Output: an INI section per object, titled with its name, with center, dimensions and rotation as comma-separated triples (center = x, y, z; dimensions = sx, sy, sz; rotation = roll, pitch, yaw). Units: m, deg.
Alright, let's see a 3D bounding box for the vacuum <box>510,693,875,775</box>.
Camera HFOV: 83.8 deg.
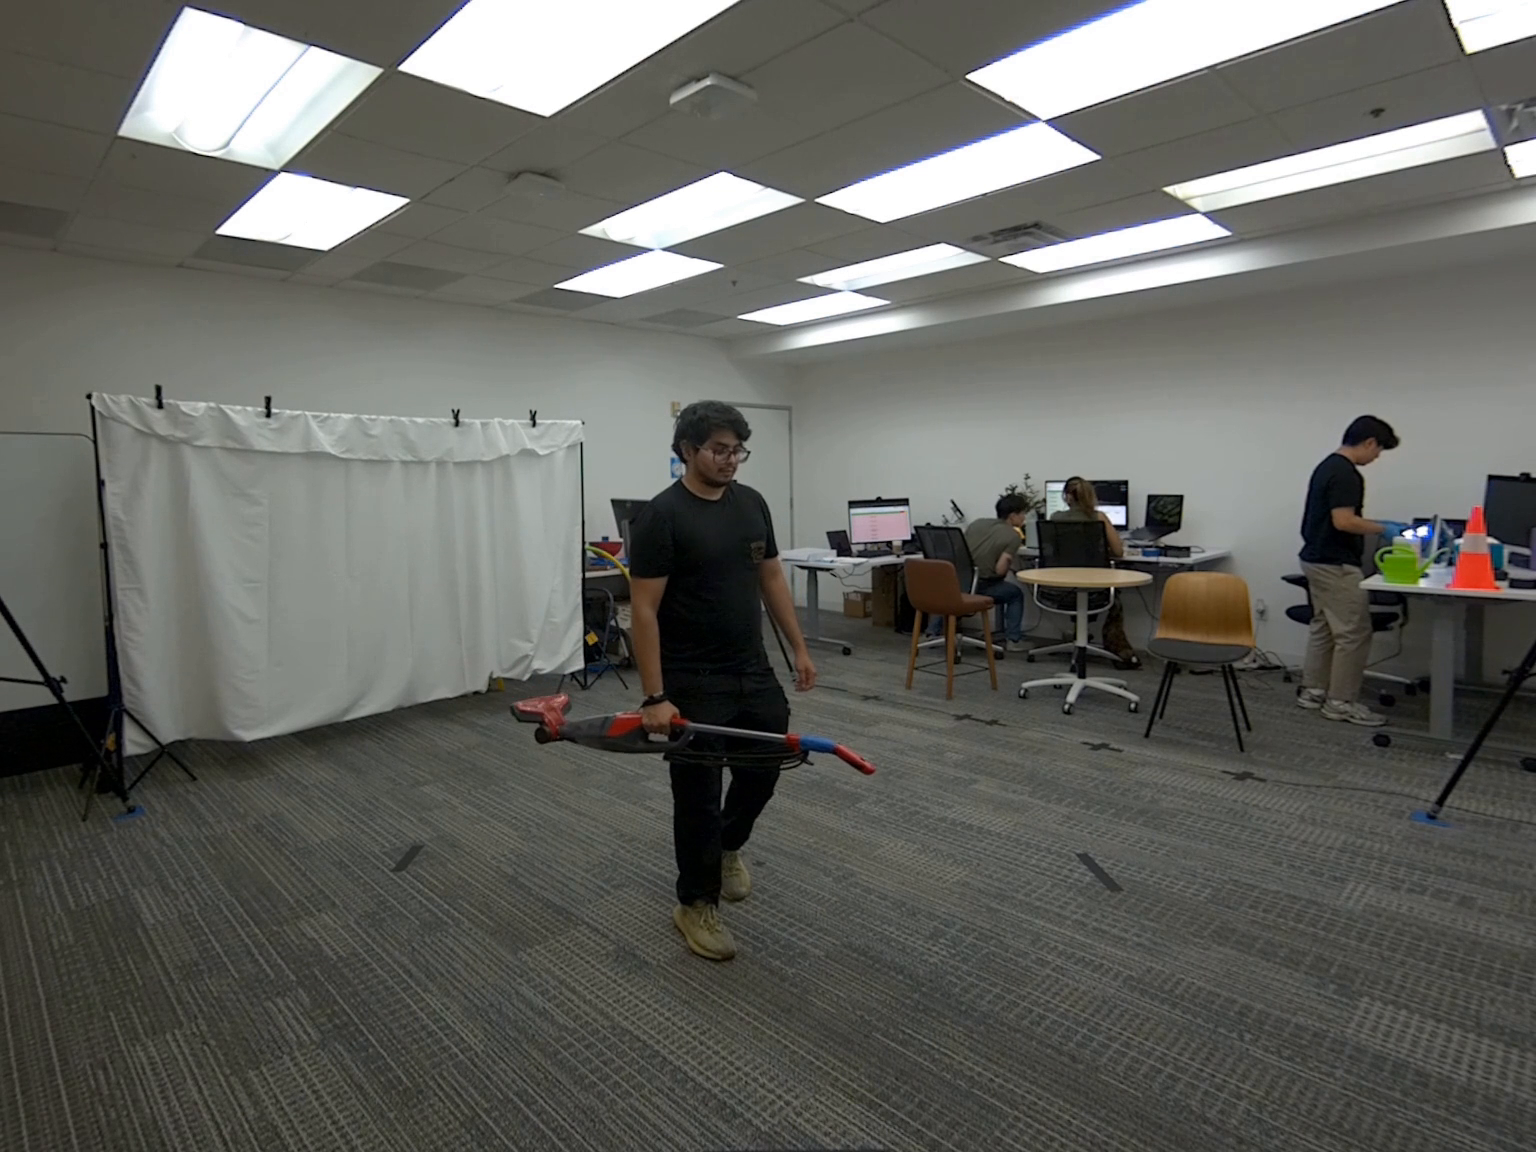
[vacuum]
center = -0.212, 0.473, 2.380
dimensions = 1.075, 0.143, 0.247
rotation = 3, 6, 27
